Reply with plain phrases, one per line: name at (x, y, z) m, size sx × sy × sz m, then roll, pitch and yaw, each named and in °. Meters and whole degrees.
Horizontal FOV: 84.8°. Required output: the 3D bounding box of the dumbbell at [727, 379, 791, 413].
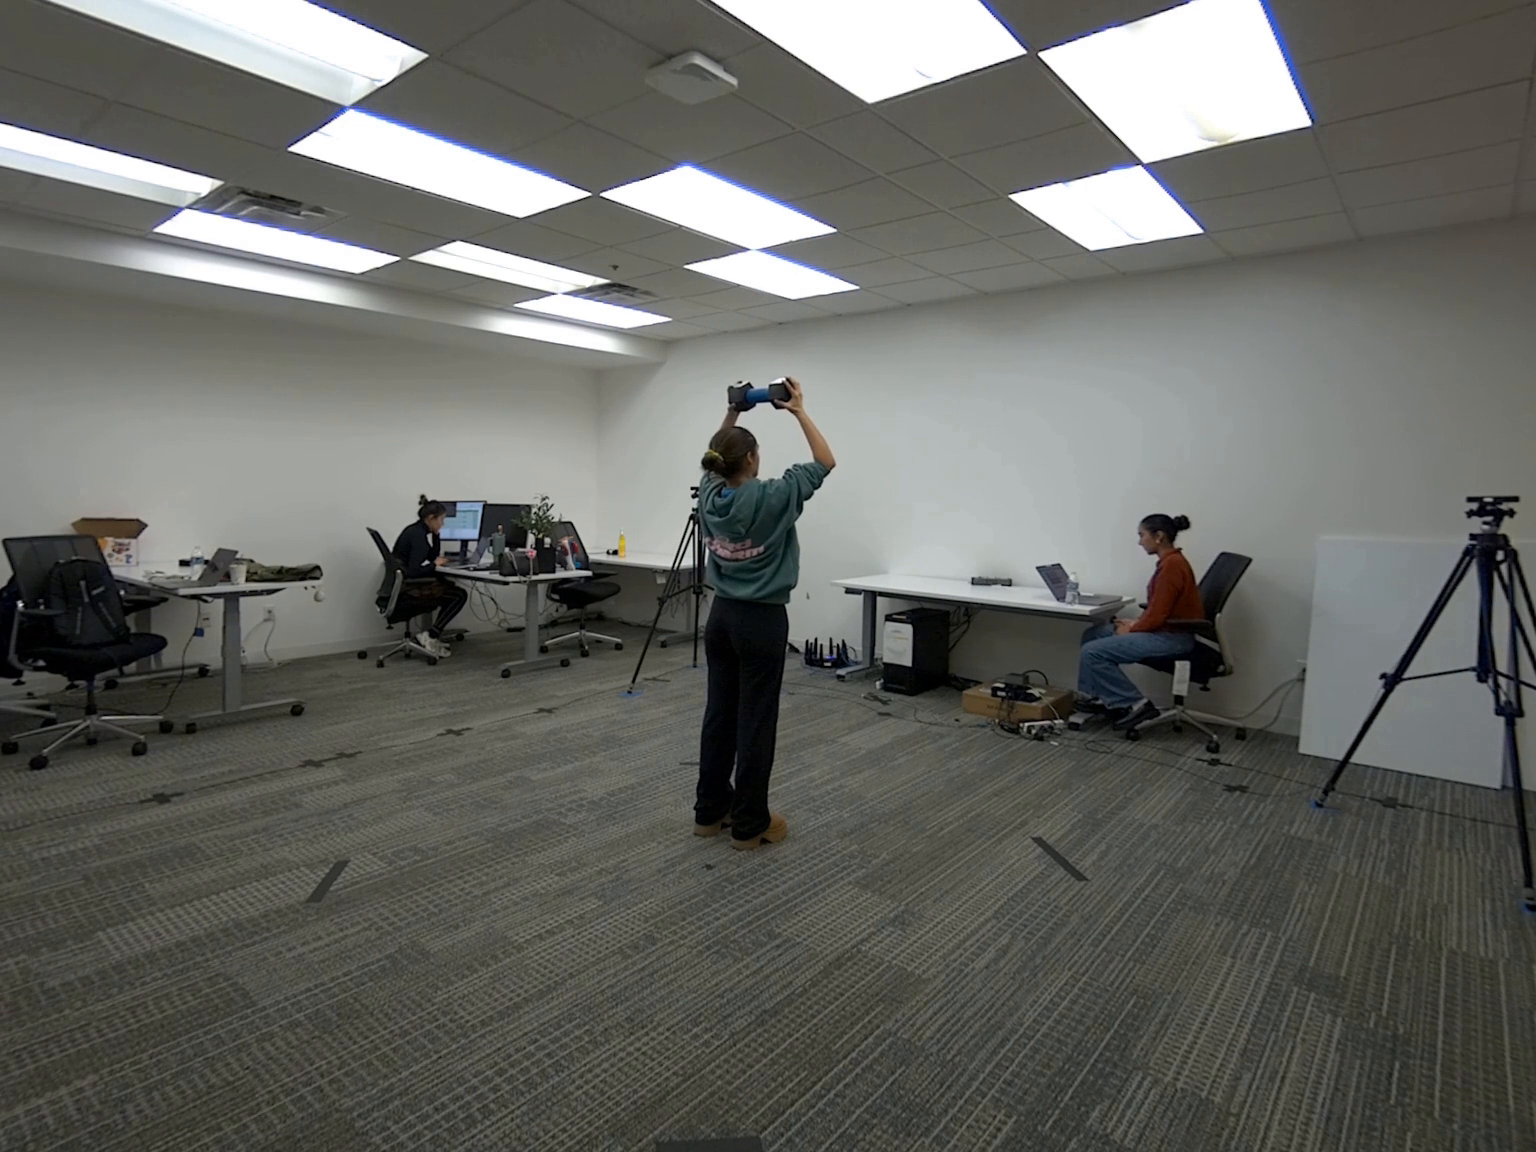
dumbbell at (-0.039, -0.734, 3.418) m, size 0.304 × 0.123 × 0.105 m, roll 6°, pitch 2°, yaw 41°
